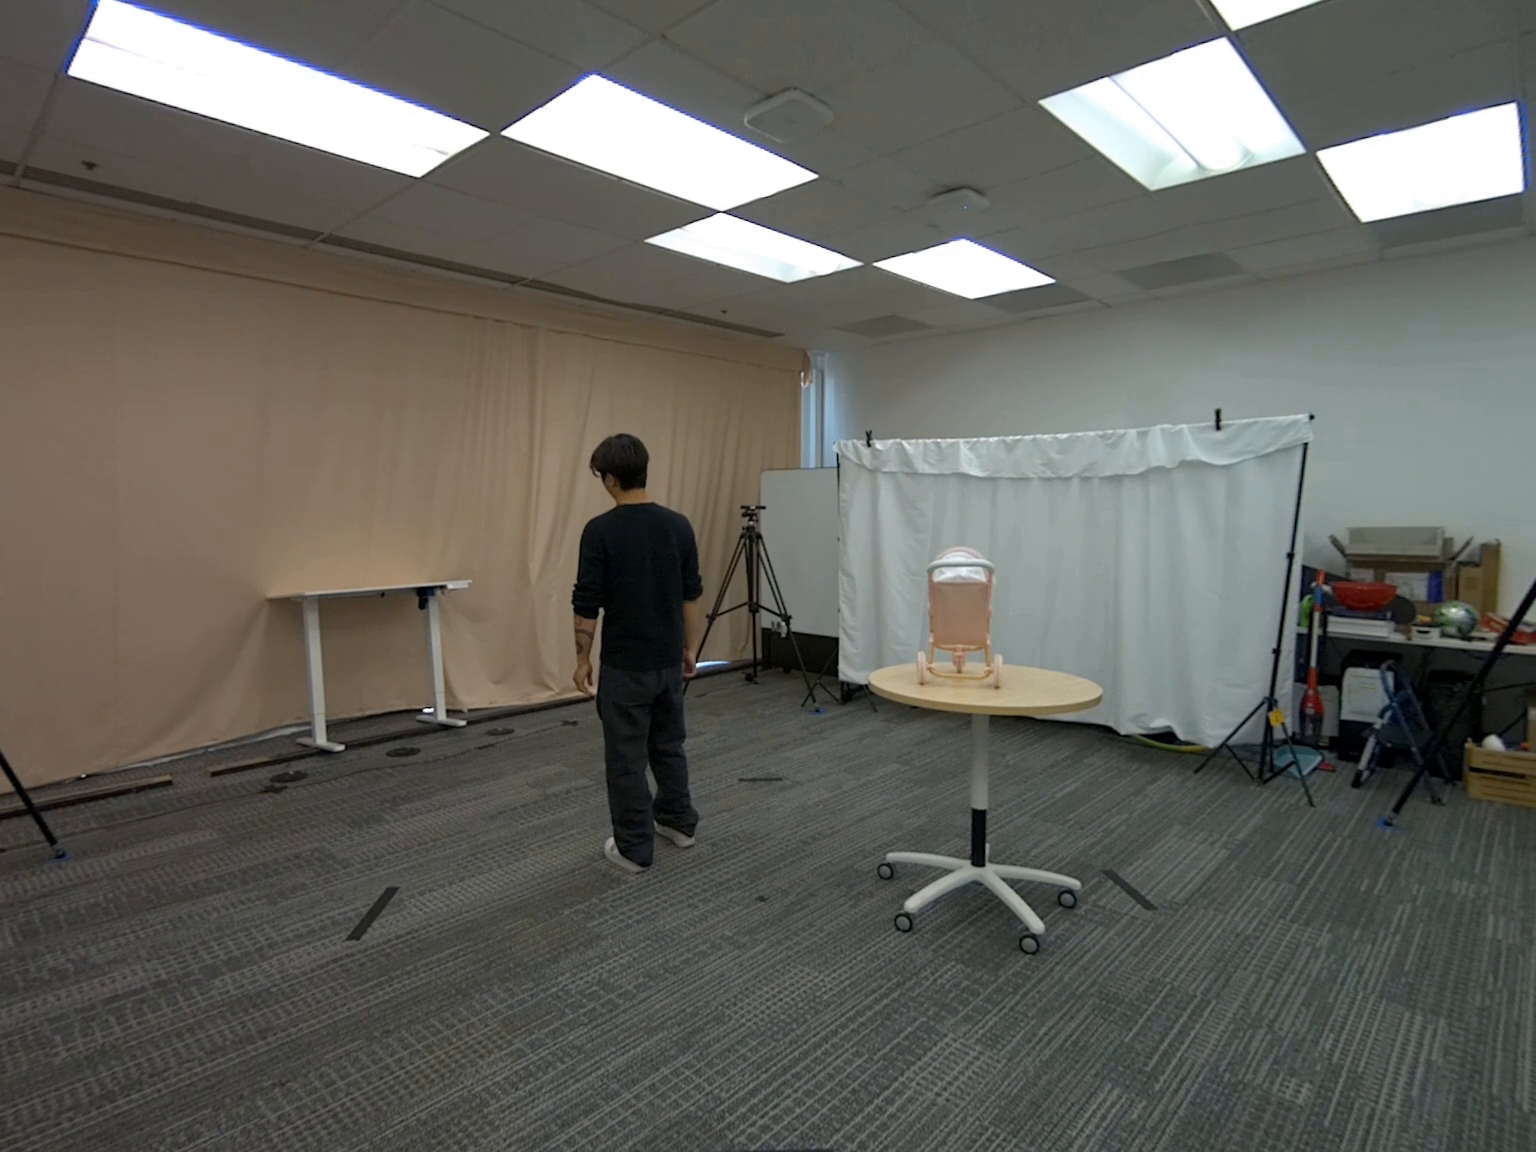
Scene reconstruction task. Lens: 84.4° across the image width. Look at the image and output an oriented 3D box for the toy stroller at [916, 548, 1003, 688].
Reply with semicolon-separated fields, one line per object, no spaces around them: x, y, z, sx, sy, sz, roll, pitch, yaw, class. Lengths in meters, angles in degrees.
0.675;0.141;2.895;0.287;0.528;0.339;0;19;16;toy stroller
